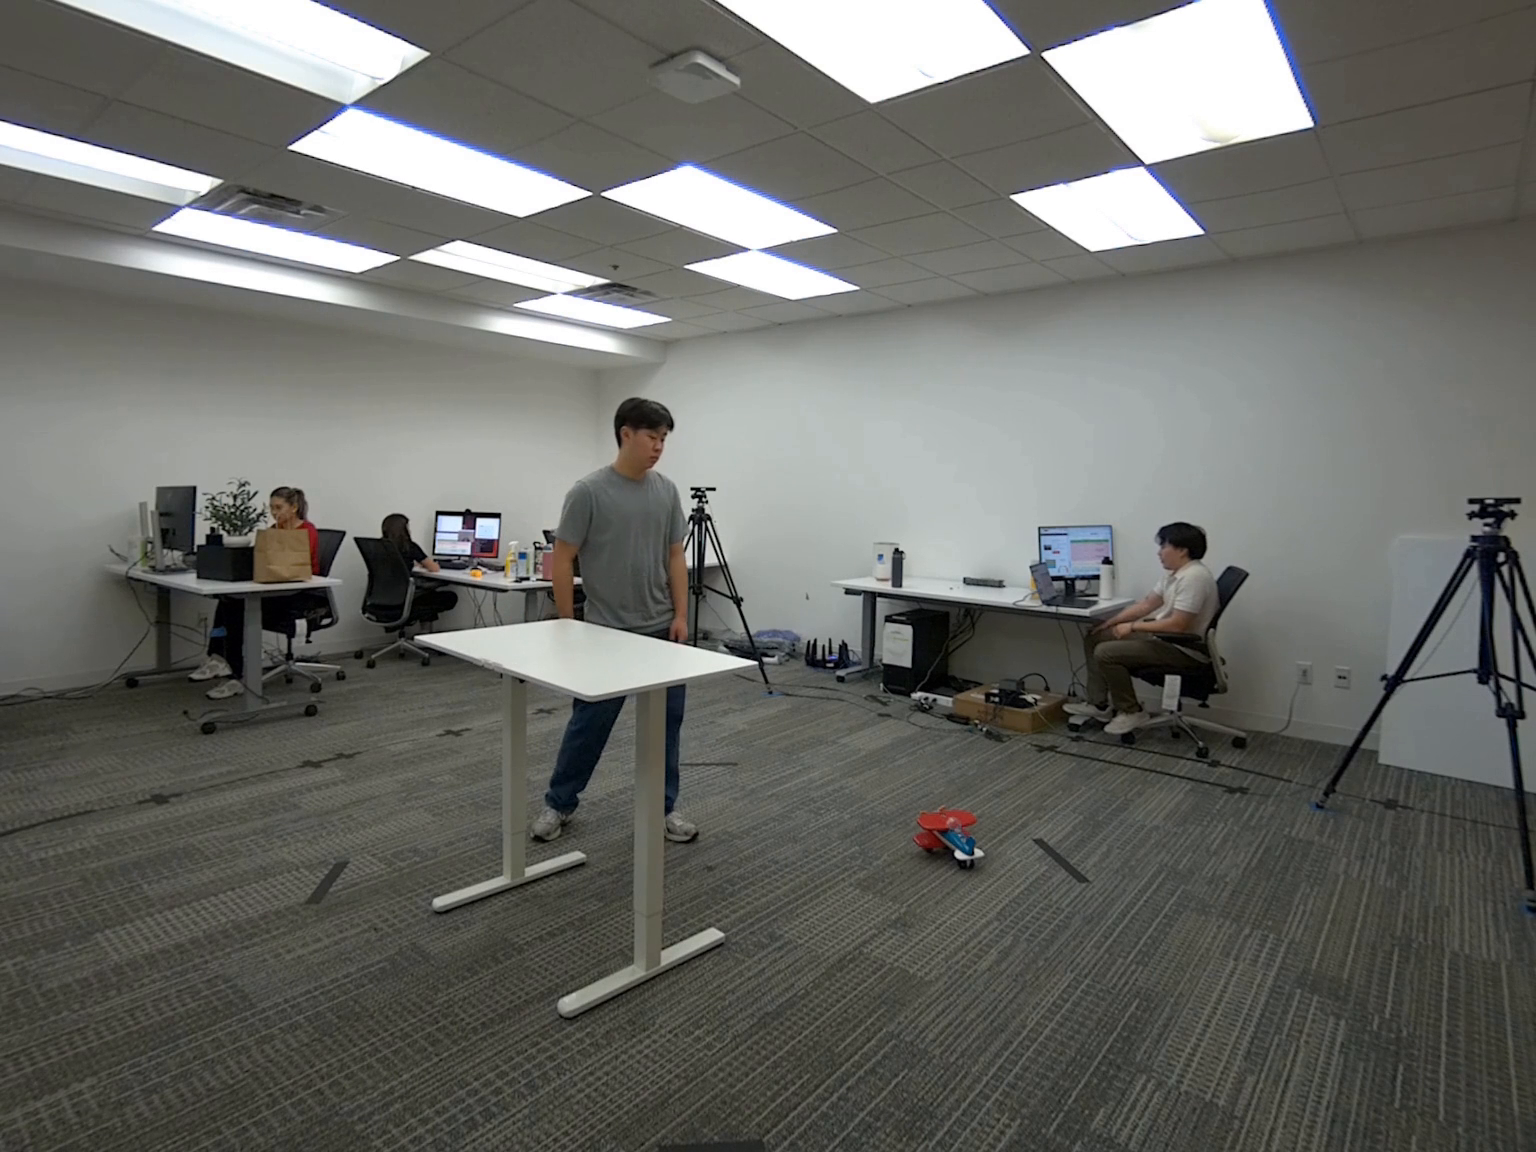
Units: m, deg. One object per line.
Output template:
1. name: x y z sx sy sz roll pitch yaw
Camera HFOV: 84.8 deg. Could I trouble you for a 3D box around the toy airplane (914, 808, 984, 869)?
1. toy airplane: 0.706 0.996 3.254 0.268 0.156 0.243 5 5 38
